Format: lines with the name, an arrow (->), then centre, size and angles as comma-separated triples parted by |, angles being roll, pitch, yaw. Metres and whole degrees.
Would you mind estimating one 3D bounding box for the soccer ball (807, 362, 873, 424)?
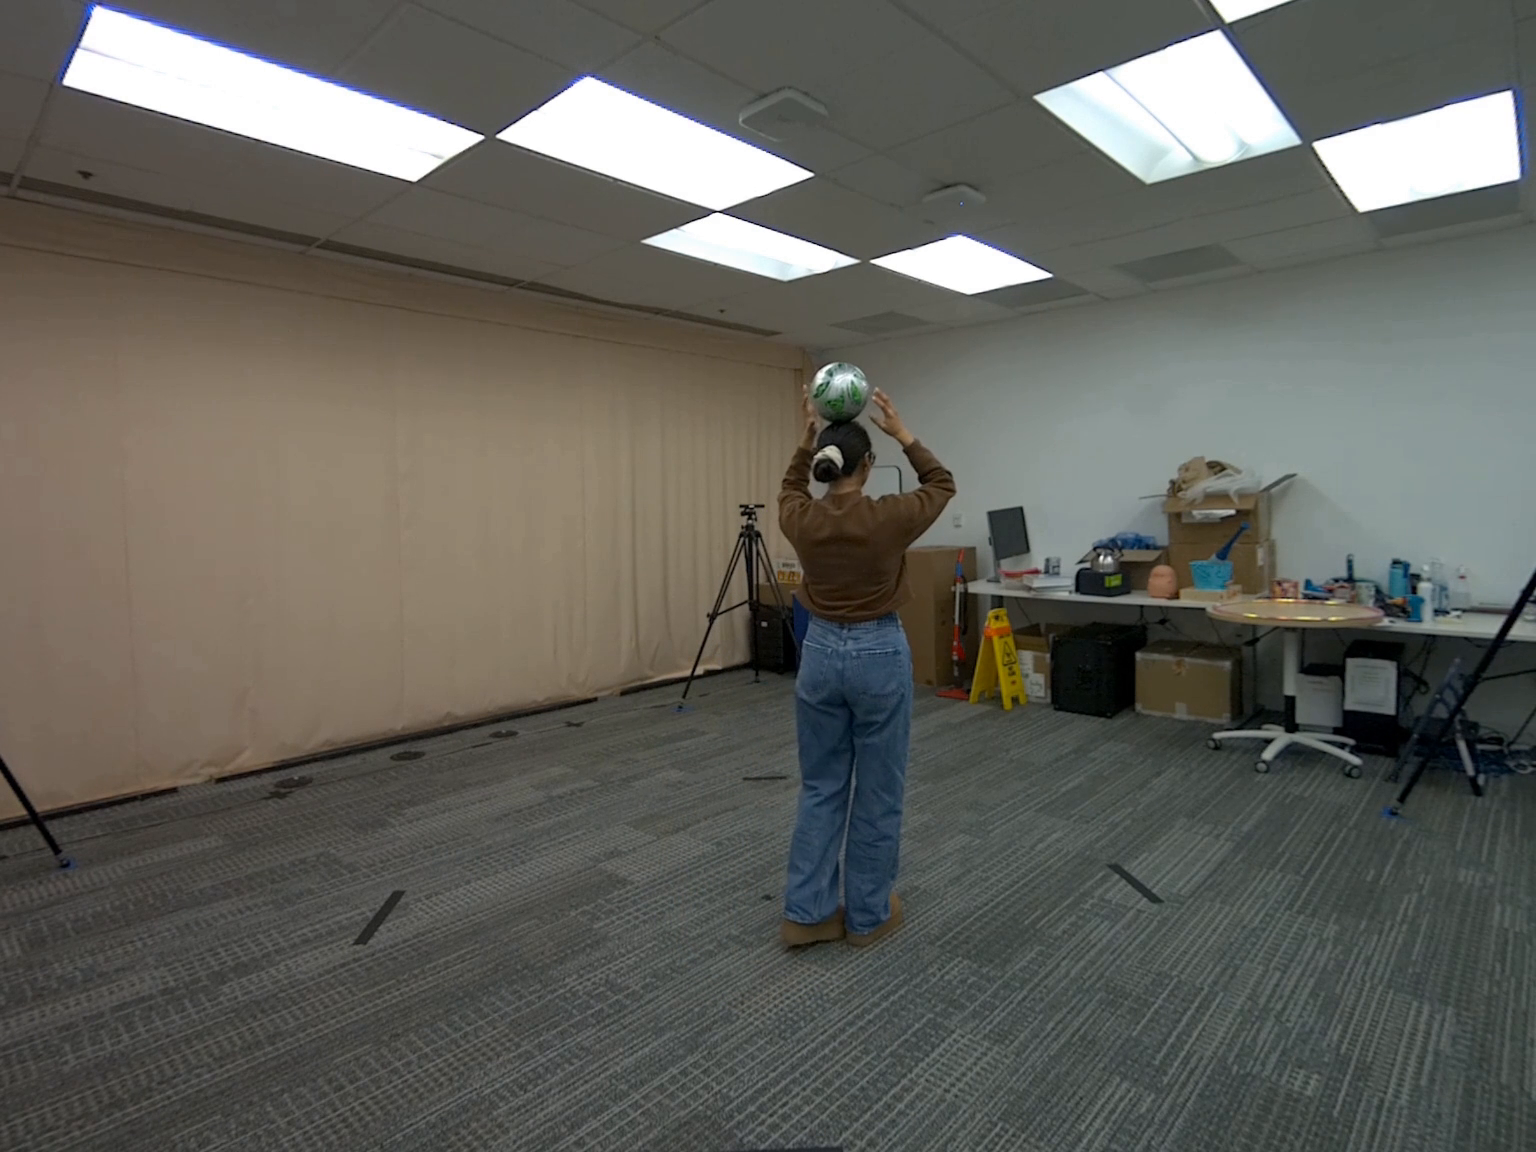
soccer ball -> 0.228, -0.577, 2.649 | 0.187, 0.187, 0.188 | -1, 4, -2
